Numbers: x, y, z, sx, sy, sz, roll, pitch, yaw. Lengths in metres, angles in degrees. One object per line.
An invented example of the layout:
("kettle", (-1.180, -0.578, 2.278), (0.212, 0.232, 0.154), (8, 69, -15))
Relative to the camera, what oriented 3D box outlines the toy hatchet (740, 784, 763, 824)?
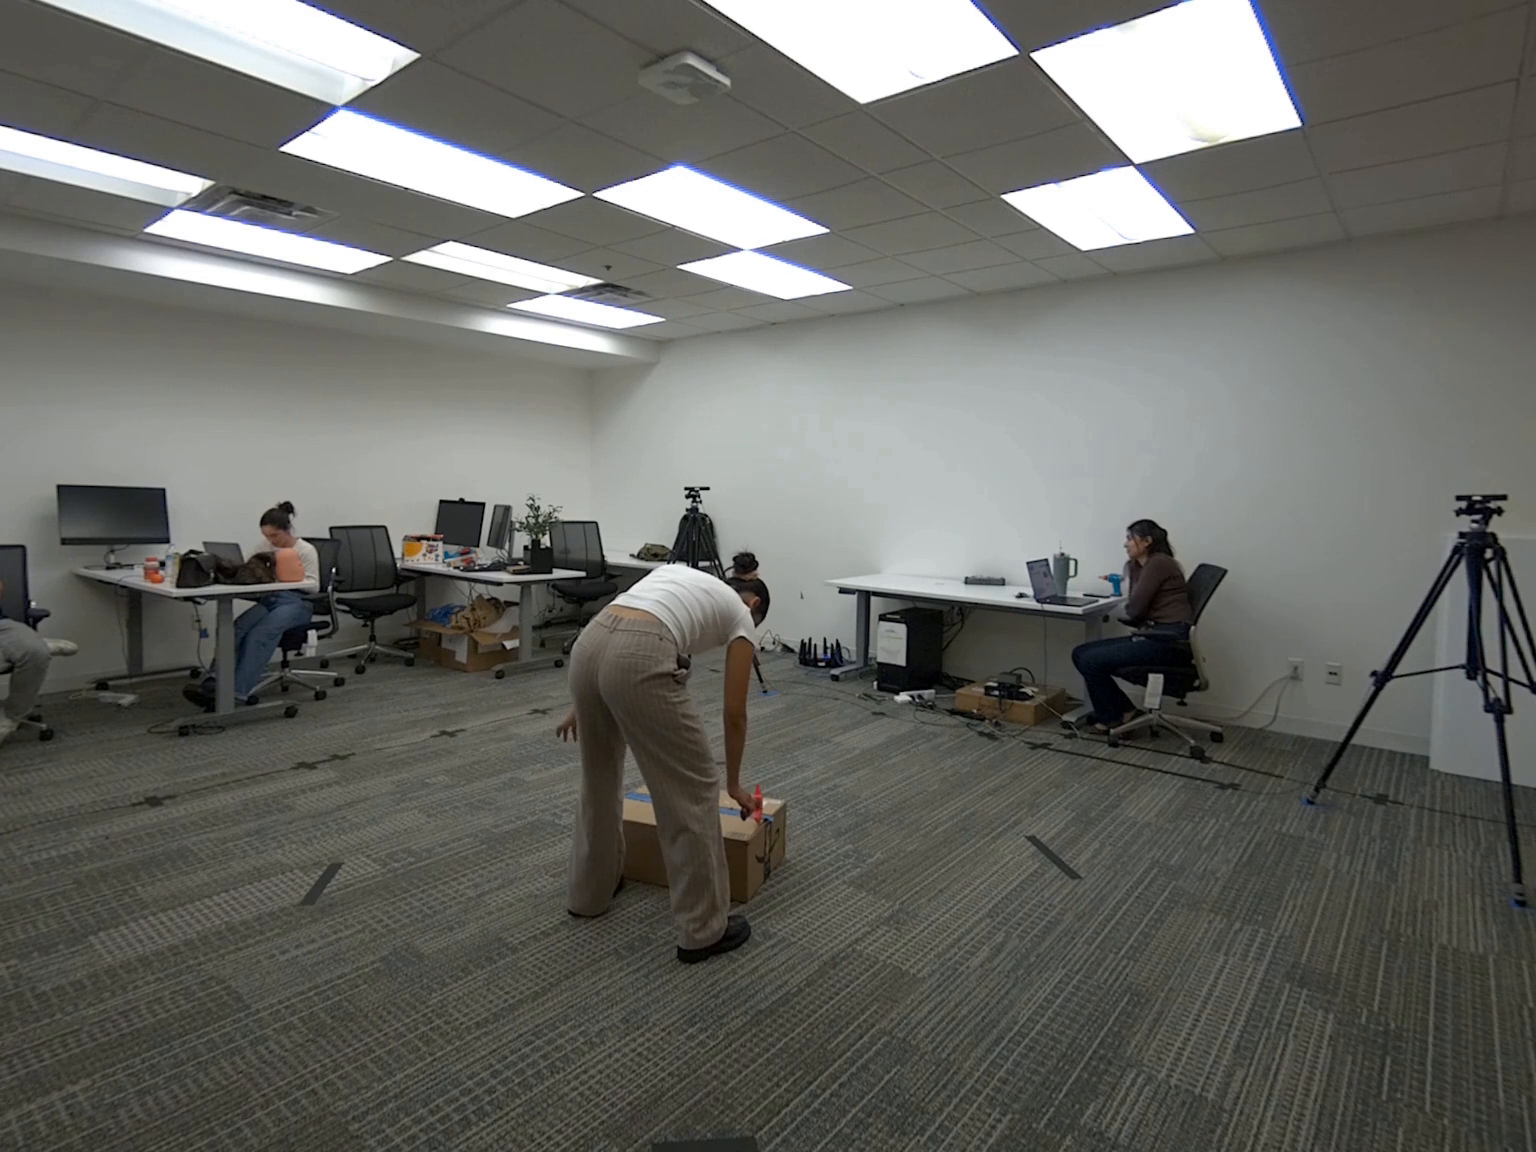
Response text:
("toy hatchet", (-0.063, 0.803, 2.873), (0.030, 0.130, 0.268), (-1, 5, 10))
